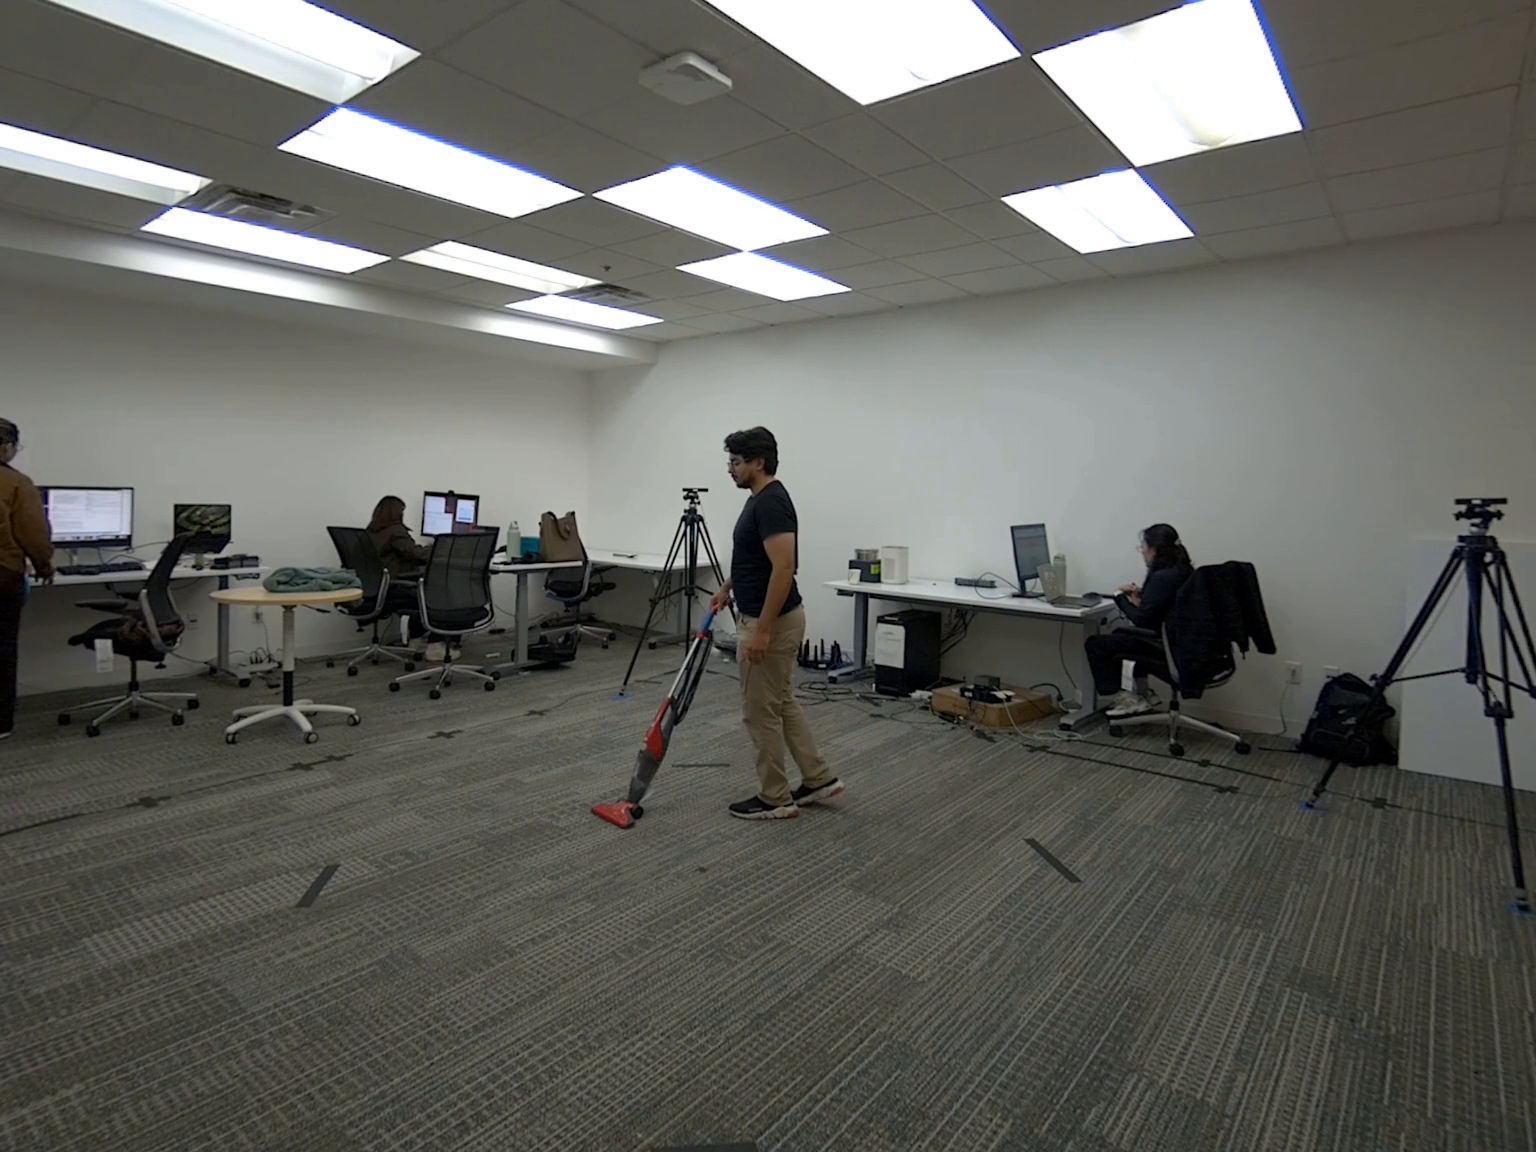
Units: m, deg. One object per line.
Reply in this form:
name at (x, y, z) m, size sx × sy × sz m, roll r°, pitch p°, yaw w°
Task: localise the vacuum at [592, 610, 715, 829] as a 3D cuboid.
vacuum at (-0.422, 0.566, 3.775) m, size 0.261 × 1.056 × 0.138 m, roll 6°, pitch -28°, yaw 45°
